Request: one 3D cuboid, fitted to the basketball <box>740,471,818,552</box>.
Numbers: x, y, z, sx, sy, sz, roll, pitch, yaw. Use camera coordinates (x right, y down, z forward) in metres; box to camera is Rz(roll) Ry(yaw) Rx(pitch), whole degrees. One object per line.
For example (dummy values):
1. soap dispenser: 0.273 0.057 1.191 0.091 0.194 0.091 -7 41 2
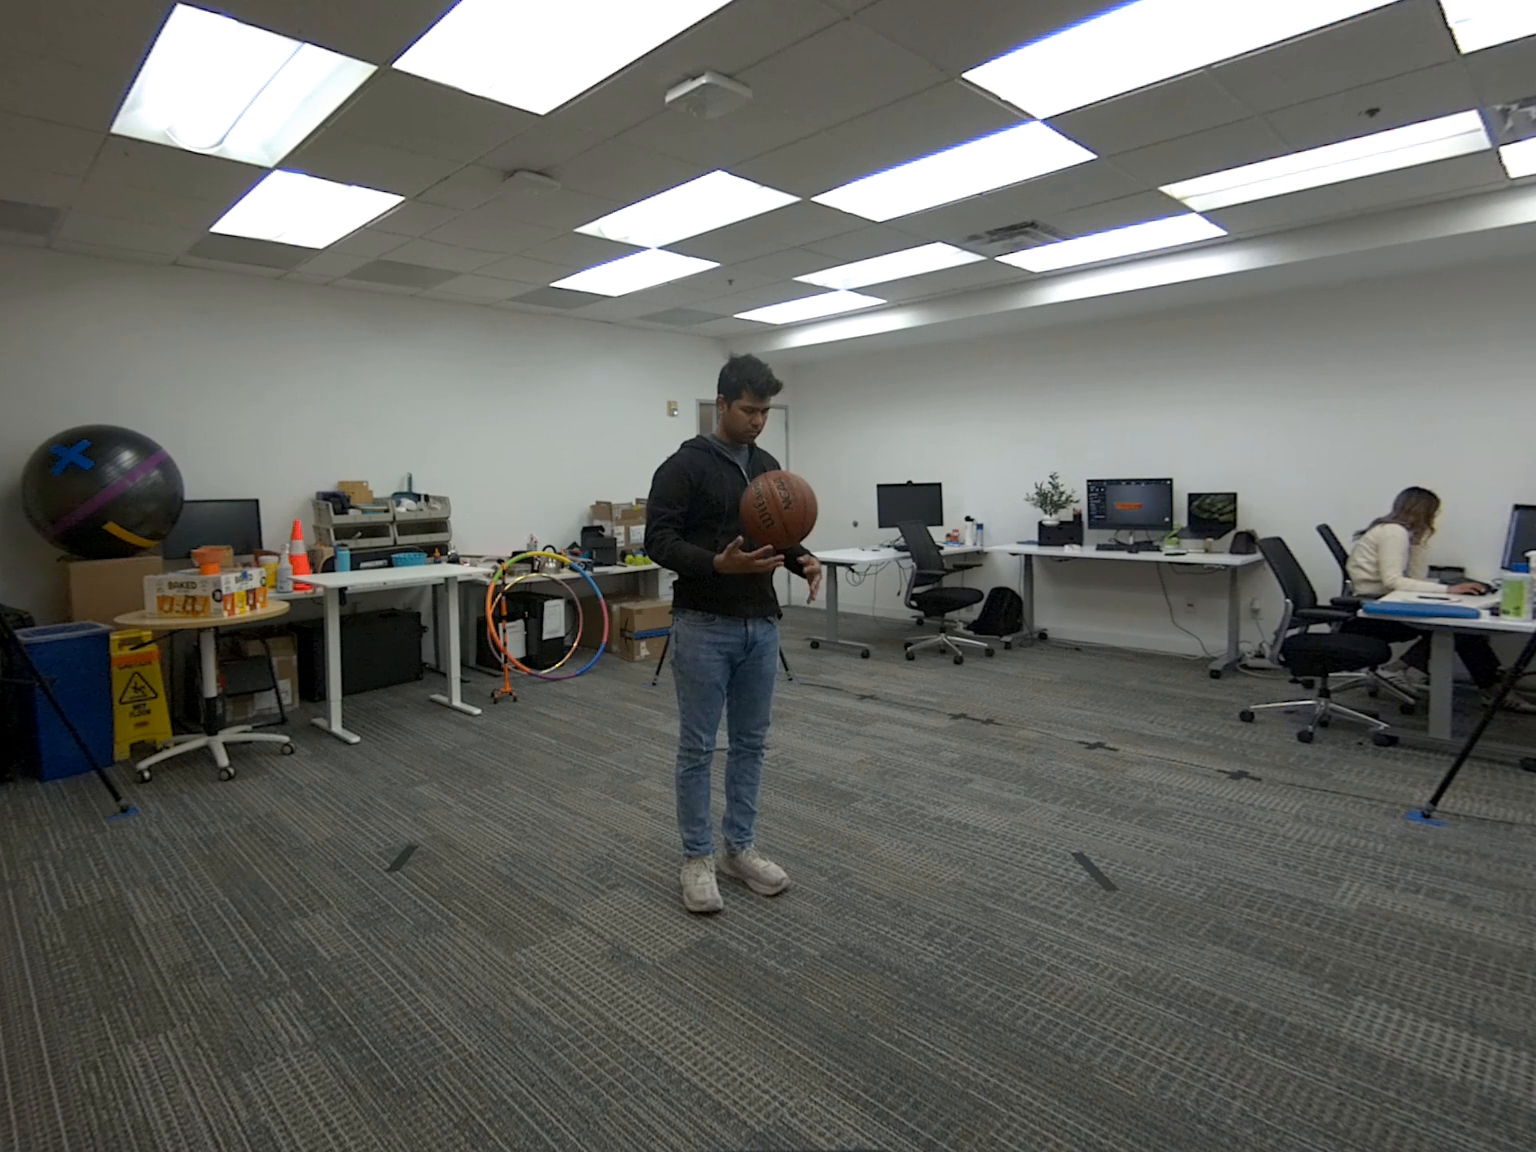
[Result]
1. basketball: 0.034 -0.176 2.620 0.236 0.235 0.237 -1 5 -2
